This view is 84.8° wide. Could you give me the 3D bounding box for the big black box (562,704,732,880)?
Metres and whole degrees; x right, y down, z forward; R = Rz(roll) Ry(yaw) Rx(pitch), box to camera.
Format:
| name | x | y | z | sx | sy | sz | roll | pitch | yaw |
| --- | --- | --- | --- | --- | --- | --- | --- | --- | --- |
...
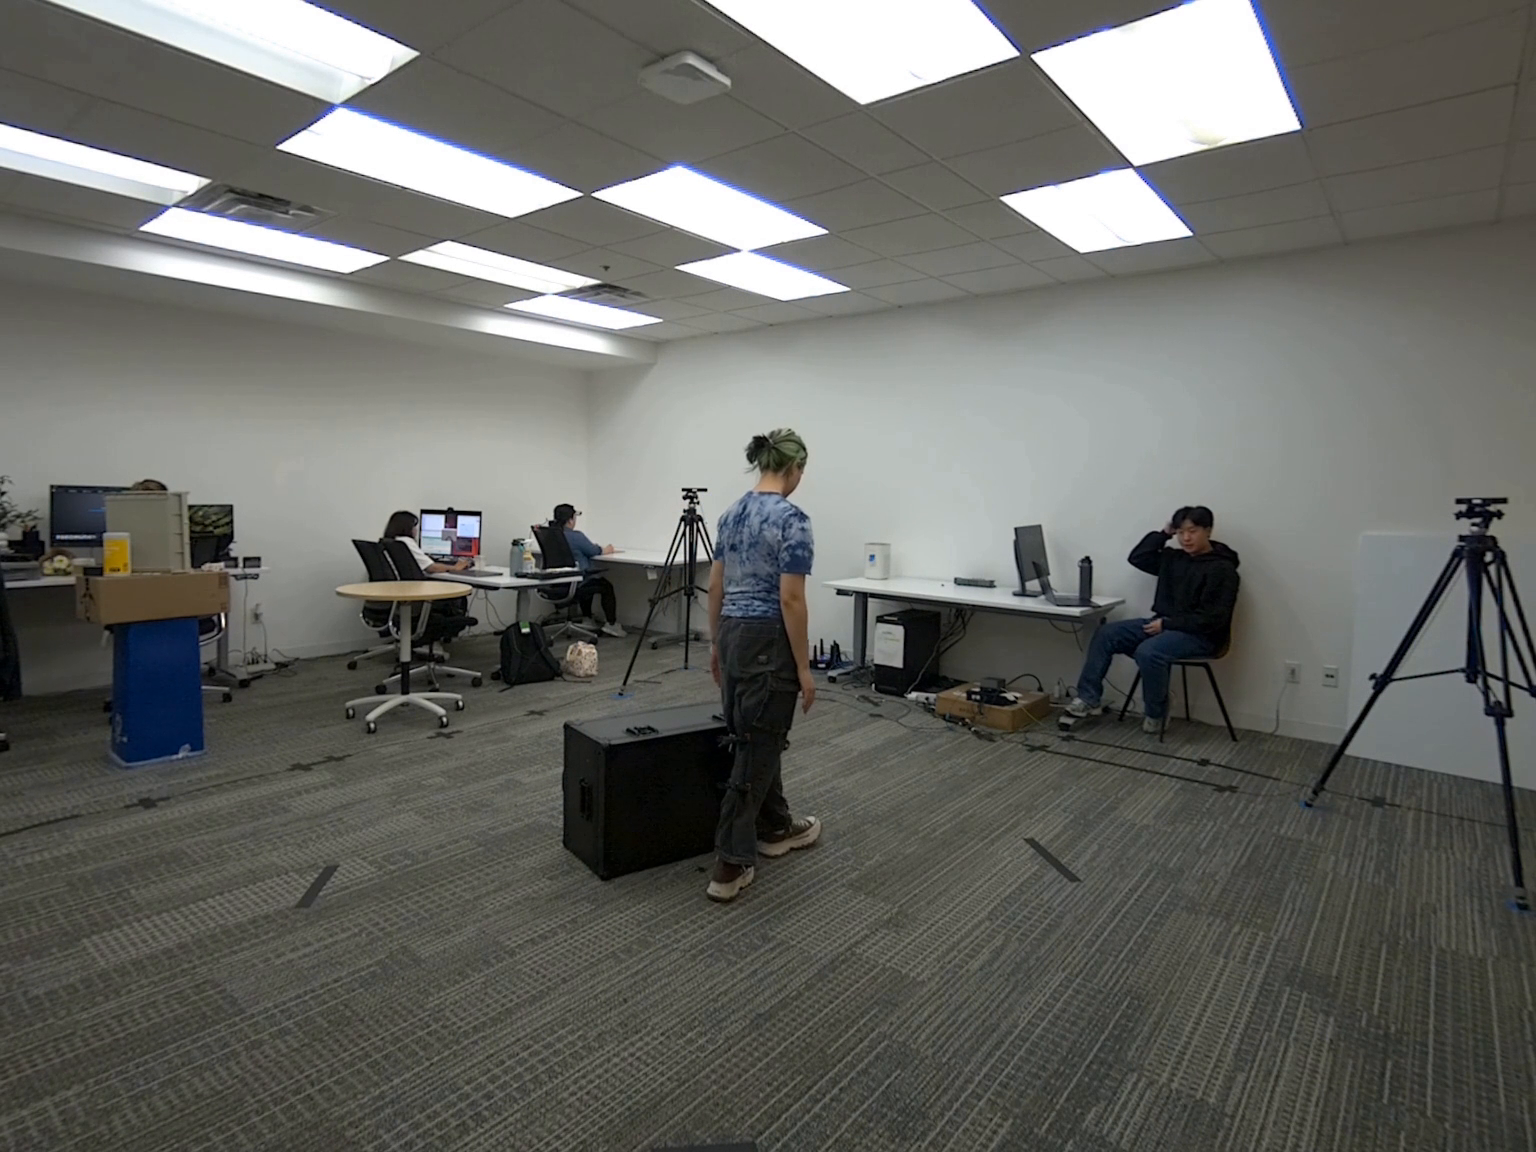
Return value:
| name | x | y | z | sx | sy | sz | roll | pitch | yaw |
| --- | --- | --- | --- | --- | --- | --- | --- | --- | --- |
| big black box | -0.369 | 0.795 | 3.378 | 0.837 | 0.520 | 0.409 | -2 | 4 | -34 |
